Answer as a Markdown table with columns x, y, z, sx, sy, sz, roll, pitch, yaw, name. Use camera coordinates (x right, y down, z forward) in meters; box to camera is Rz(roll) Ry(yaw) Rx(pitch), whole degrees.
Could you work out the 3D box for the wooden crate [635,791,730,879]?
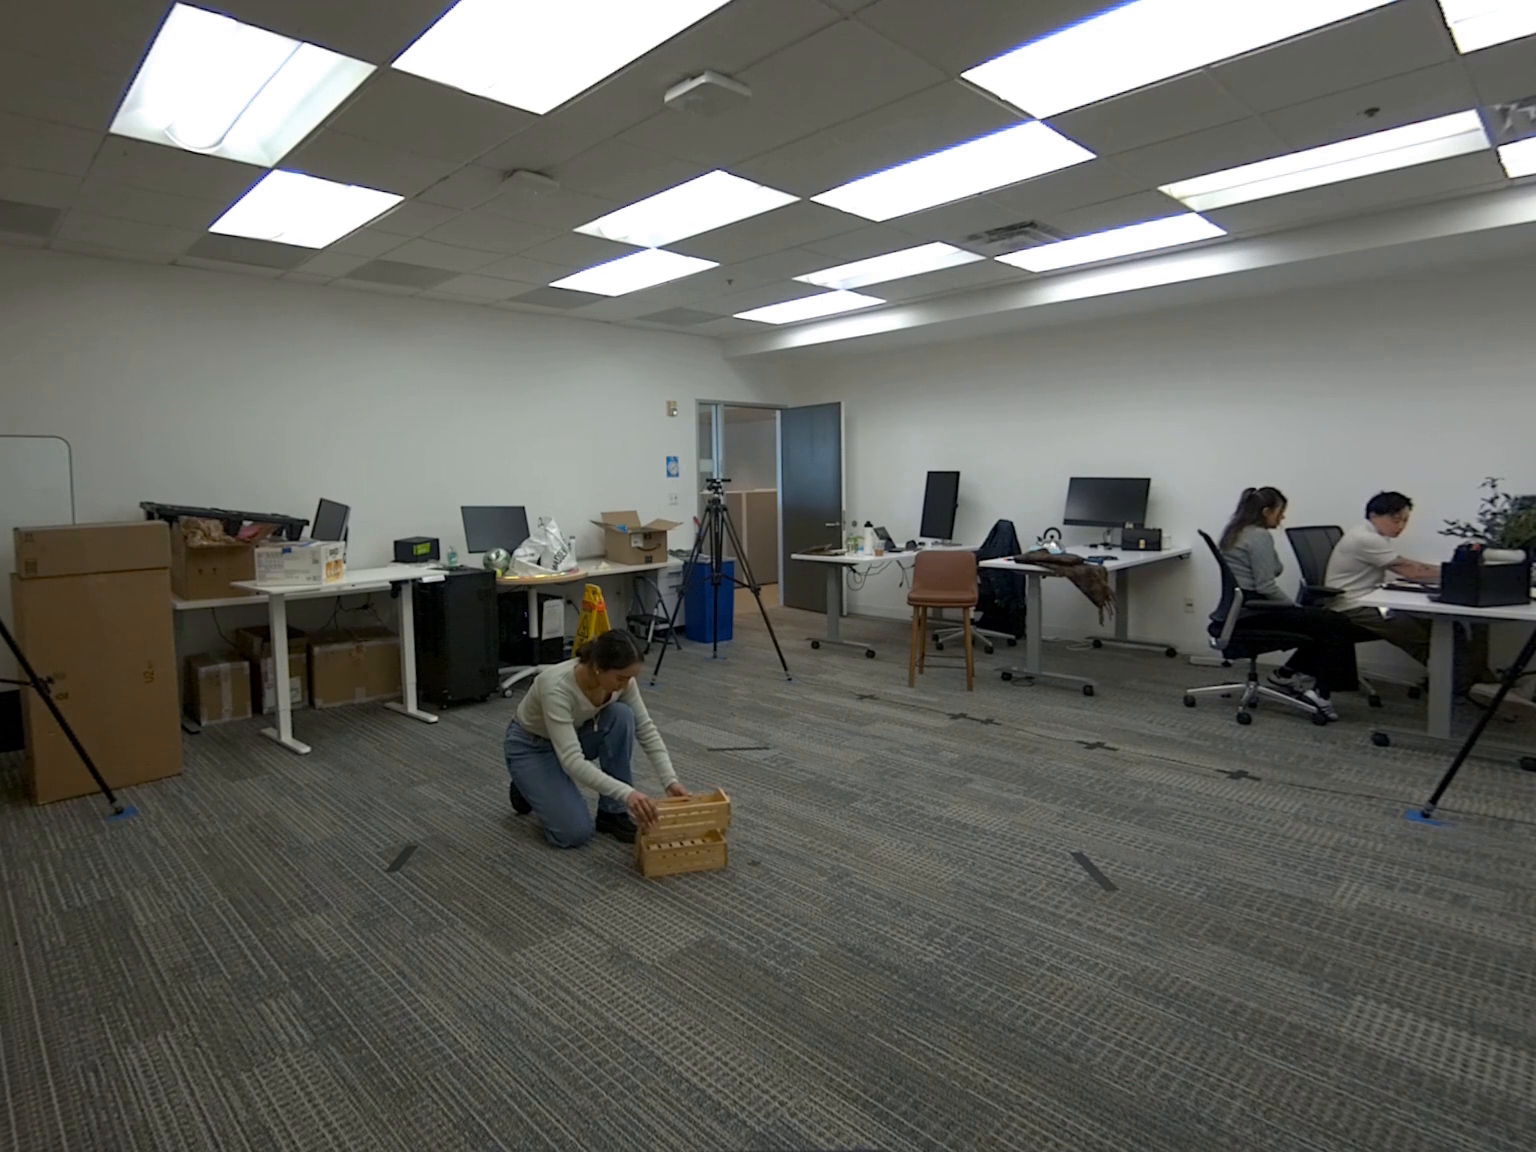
| x | y | z | sx | sy | sz | roll | pitch | yaw | name |
| --- | --- | --- | --- | --- | --- | --- | --- | --- | --- |
| -0.317 | 0.915 | 3.133 | 0.320 | 0.272 | 0.308 | -2 | 5 | -16 | wooden crate |
